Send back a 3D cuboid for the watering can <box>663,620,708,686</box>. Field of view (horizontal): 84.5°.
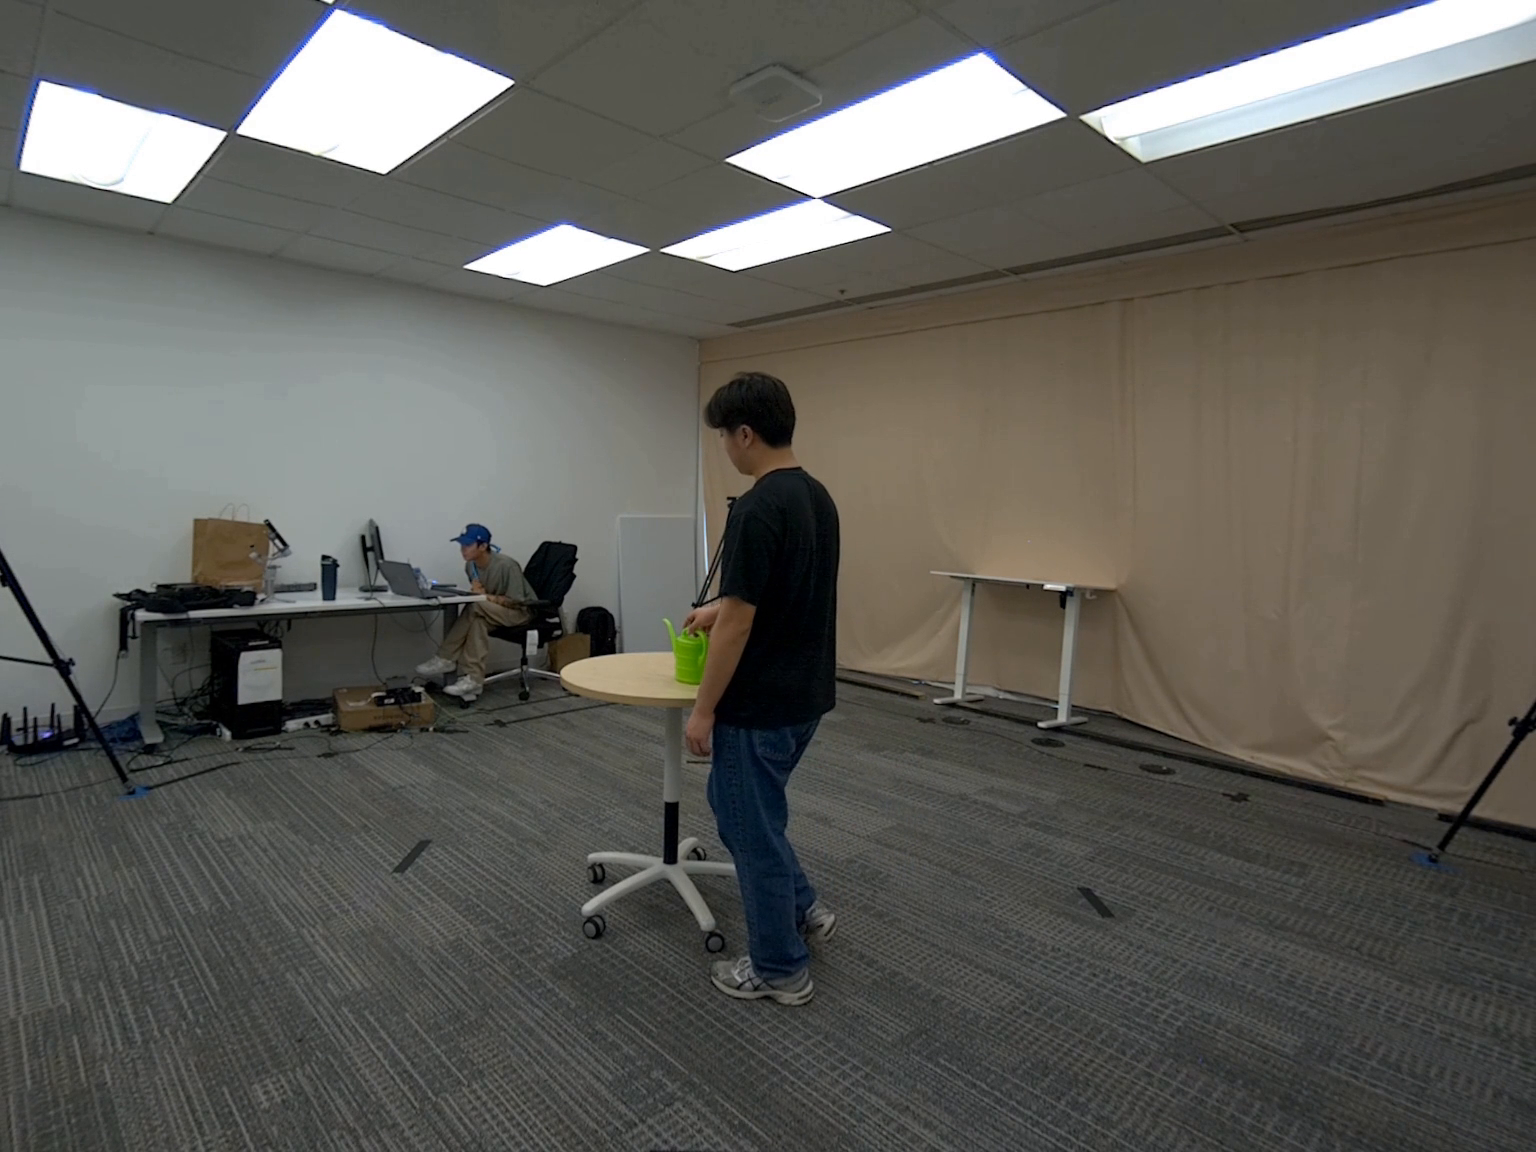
[{"bbox_3d":[-0.266,0.250,2.769,0.096,0.176,0.284,3,6,-21],"label":"watering can"}]
